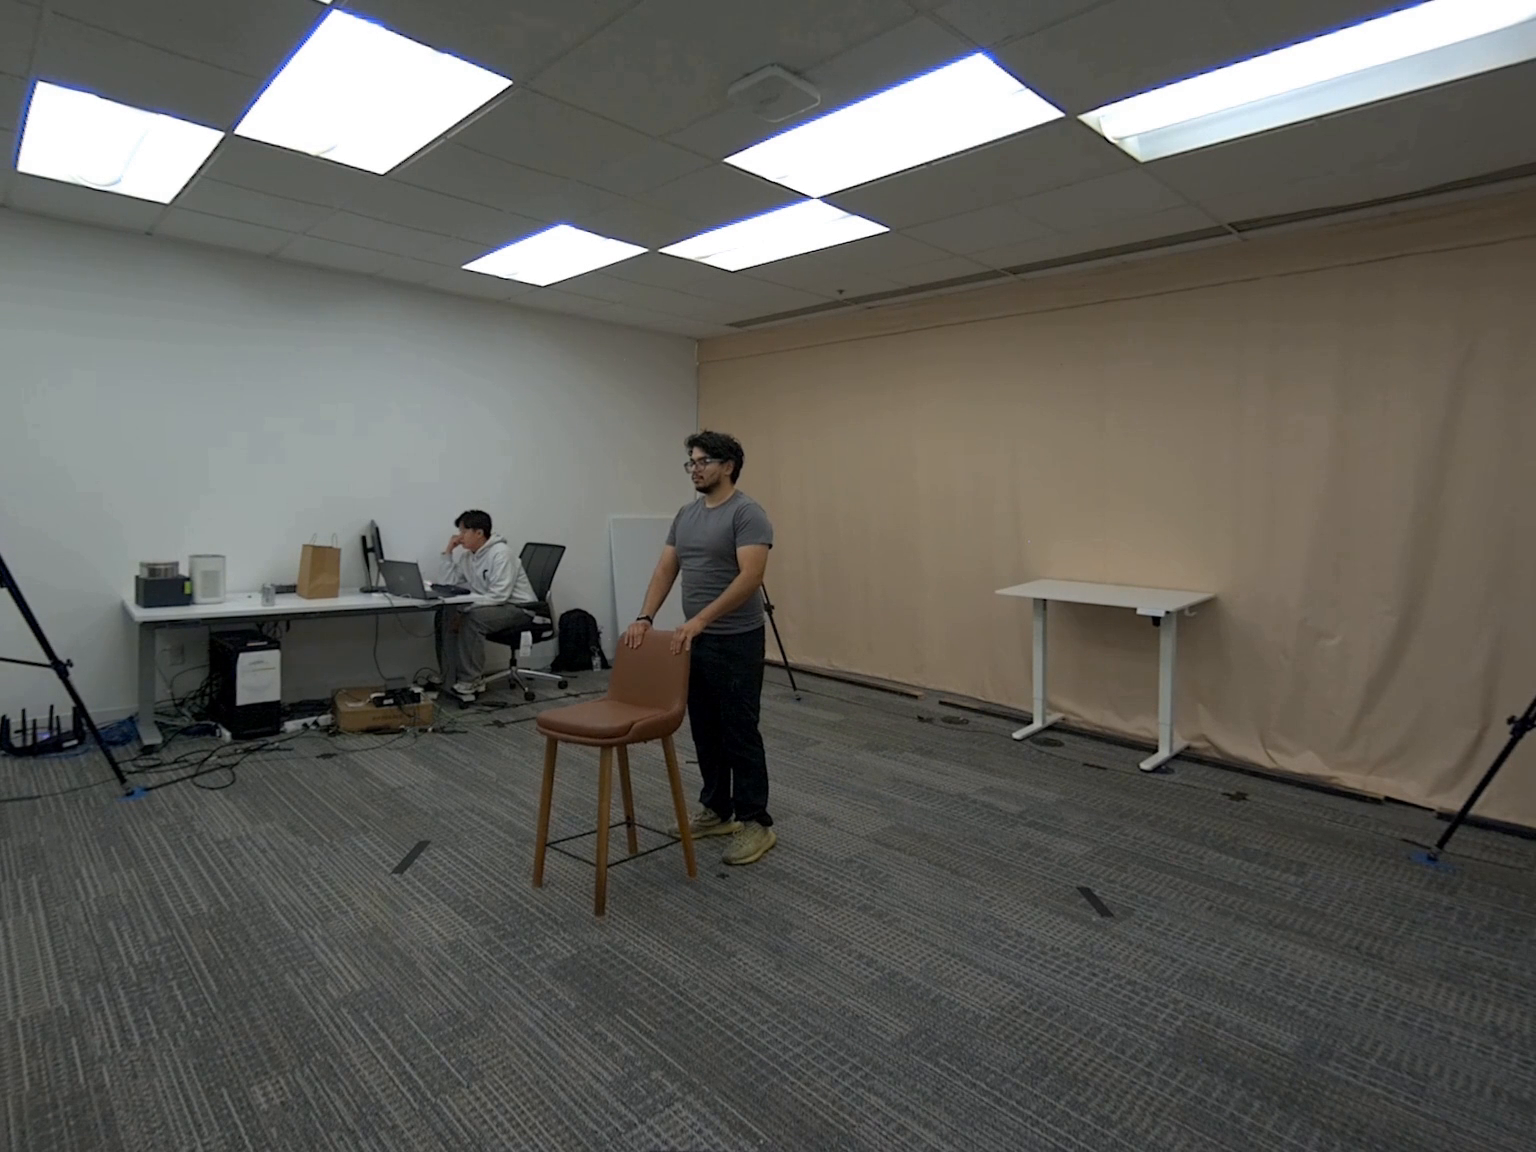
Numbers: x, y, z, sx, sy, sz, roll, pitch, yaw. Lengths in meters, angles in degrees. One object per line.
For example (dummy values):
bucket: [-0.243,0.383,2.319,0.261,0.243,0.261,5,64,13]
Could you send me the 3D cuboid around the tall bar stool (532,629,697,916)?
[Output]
tall bar stool: [-0.550,0.654,3.019,0.467,0.891,0.456,-1,-2,44]
